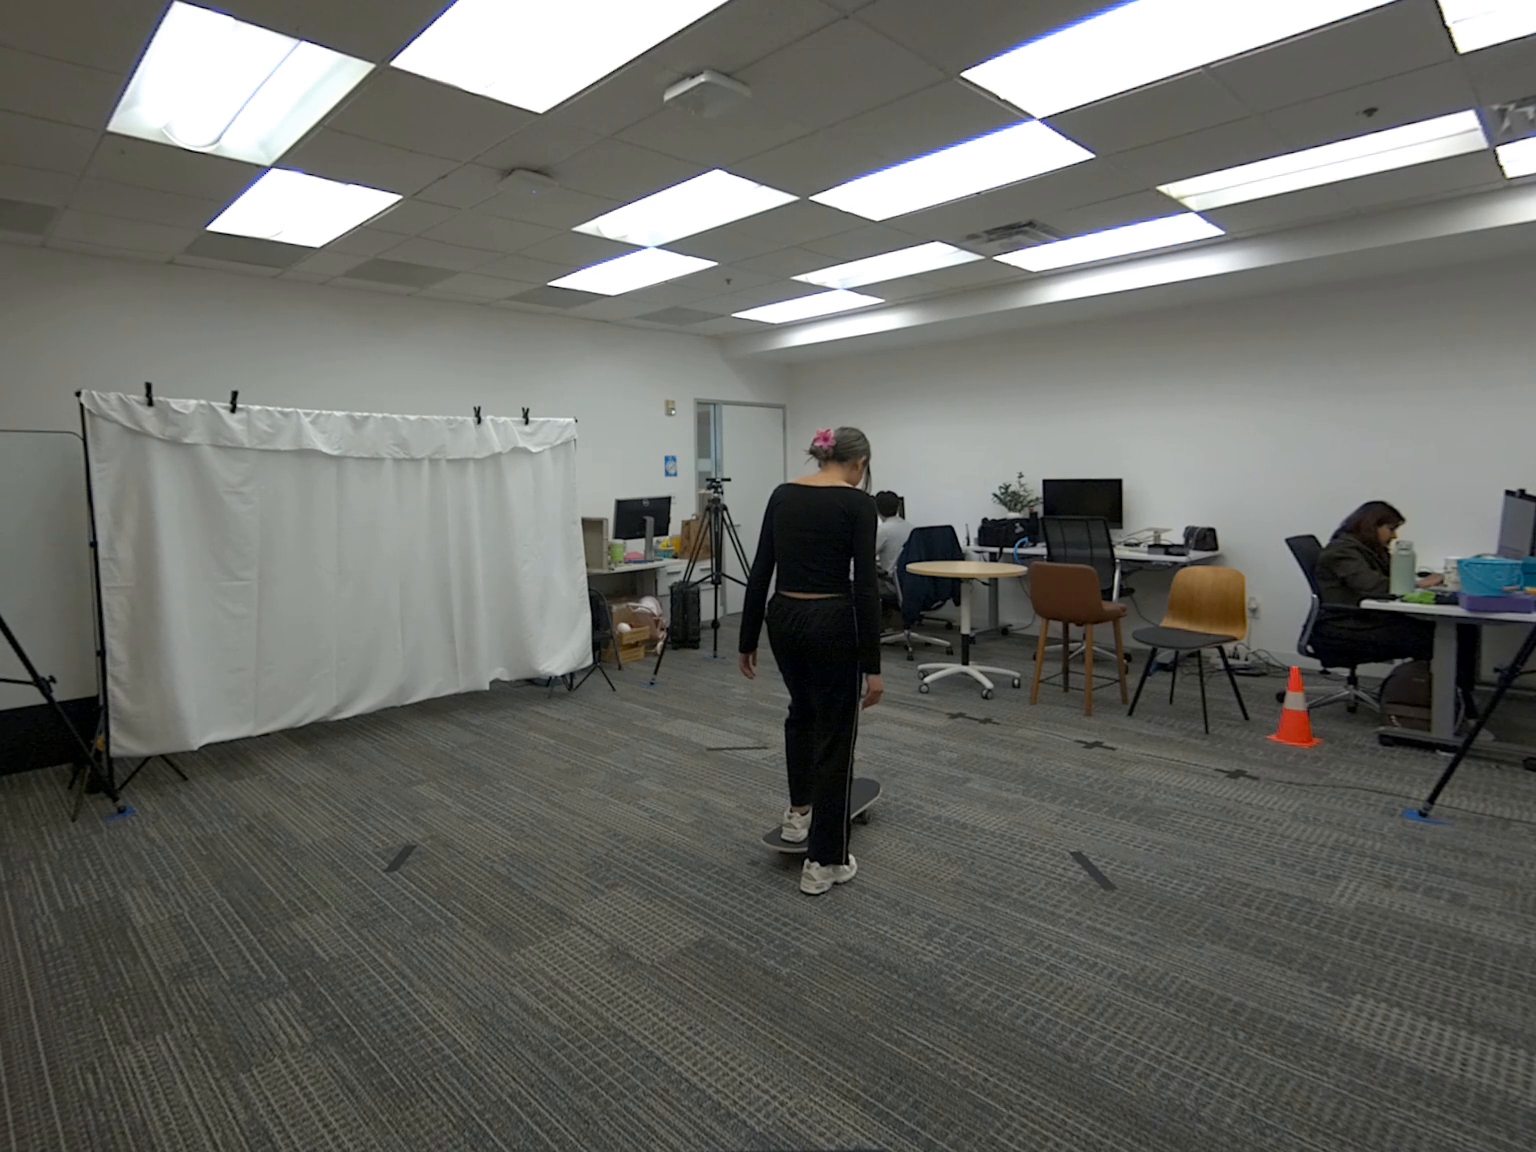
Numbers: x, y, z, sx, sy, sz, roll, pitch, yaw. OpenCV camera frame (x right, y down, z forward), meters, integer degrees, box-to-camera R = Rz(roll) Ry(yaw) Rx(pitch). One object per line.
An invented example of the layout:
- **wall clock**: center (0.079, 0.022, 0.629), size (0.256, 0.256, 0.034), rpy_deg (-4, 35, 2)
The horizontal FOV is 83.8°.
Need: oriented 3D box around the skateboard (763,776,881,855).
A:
- **skateboard**: center (0.228, 0.958, 3.326), size (0.199, 0.110, 0.768), rpy_deg (2, 8, 31)
